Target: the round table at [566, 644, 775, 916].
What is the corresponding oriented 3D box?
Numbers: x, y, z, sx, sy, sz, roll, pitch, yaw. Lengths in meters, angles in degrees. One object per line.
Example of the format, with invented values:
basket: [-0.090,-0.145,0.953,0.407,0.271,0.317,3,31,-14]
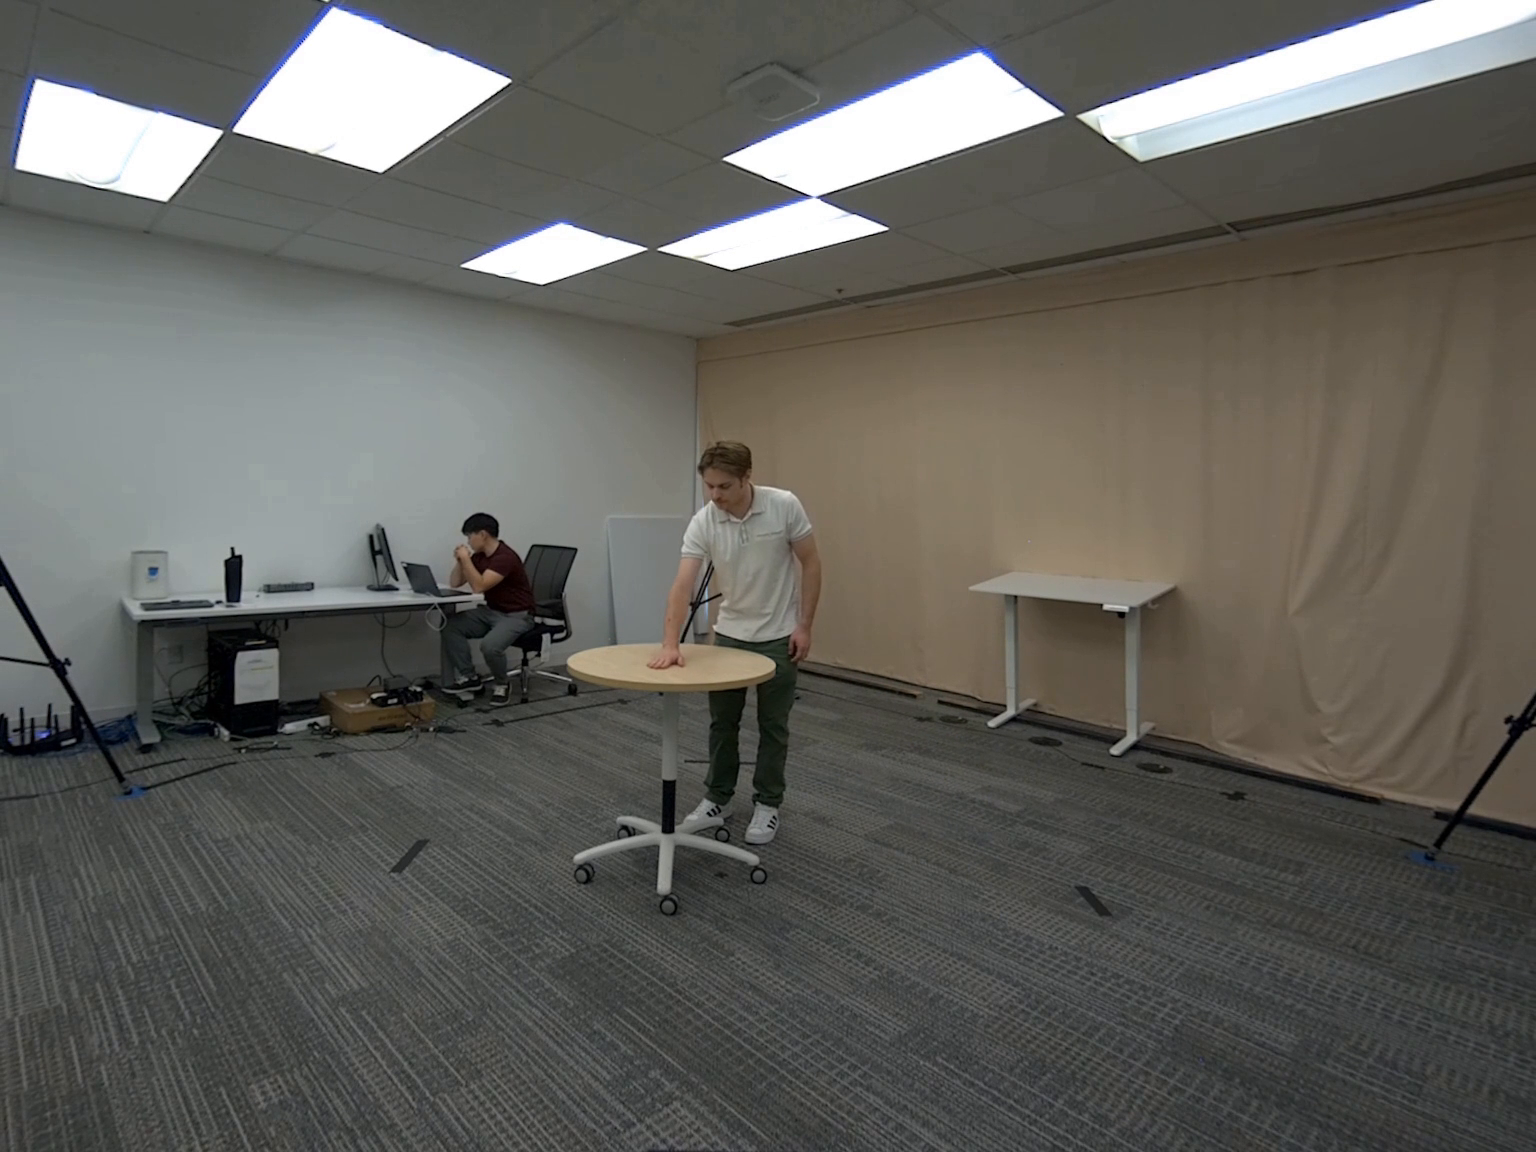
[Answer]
round table: [-0.386,0.703,3.121,0.784,0.785,0.787,2,4,-1]
